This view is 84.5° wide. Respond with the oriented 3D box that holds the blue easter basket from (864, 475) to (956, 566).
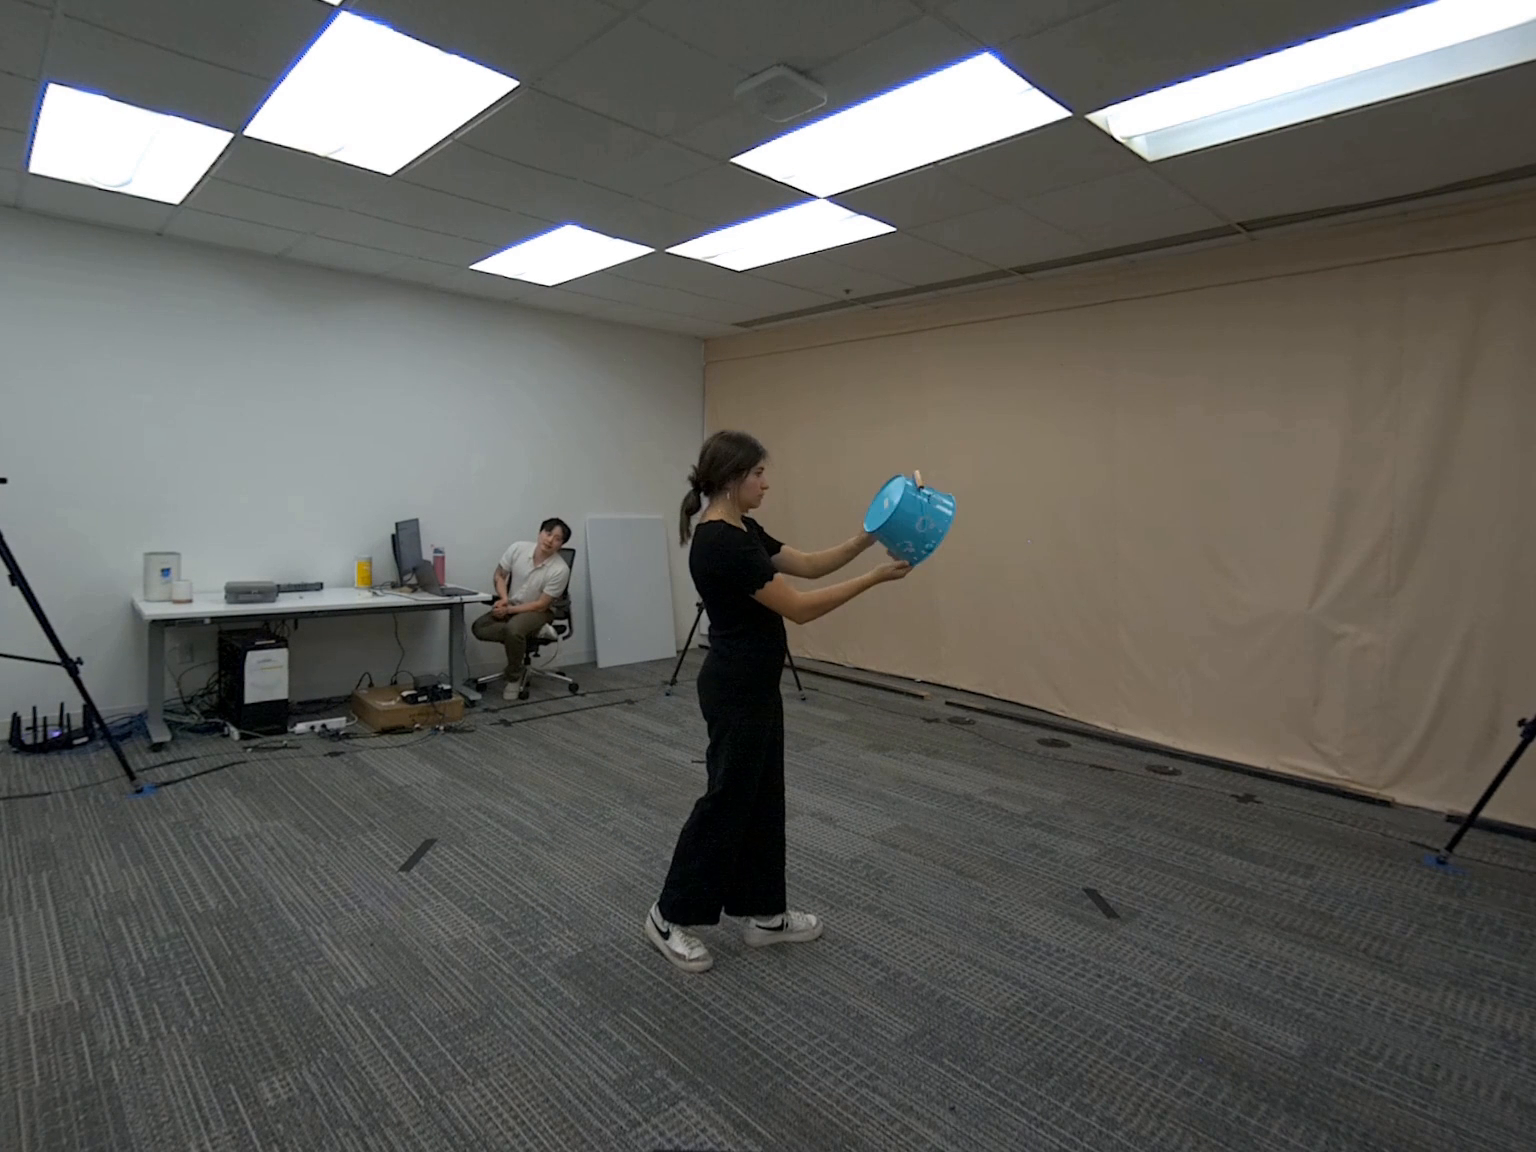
[{"bbox_3d":[0.380,-0.165,2.324,0.154,0.244,0.247,29,-3,-15],"label":"blue easter basket"}]
